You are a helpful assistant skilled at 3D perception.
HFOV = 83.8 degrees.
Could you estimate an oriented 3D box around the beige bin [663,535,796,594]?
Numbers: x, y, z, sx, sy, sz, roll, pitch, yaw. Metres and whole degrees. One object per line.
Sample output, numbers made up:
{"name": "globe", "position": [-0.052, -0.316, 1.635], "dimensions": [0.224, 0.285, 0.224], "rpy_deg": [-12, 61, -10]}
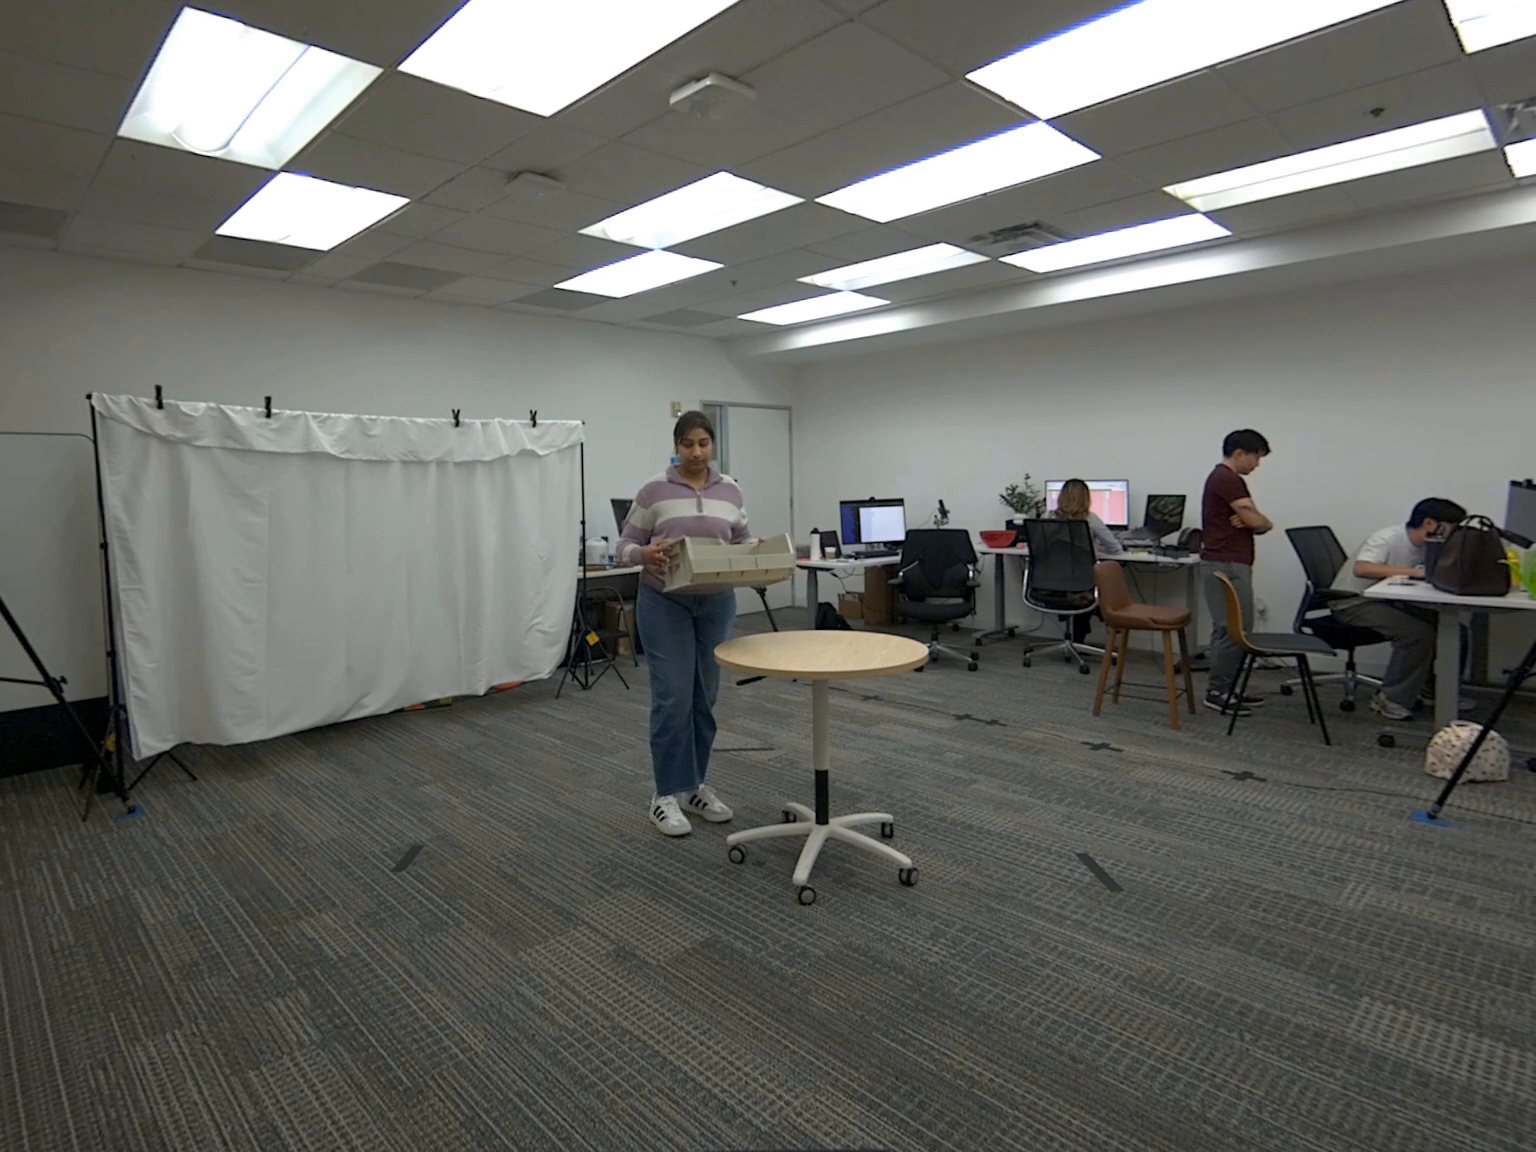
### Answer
{"name": "beige bin", "position": [-0.164, -0.050, 3.238], "dimensions": [0.414, 0.190, 0.382], "rpy_deg": [-4, -6, -24]}
